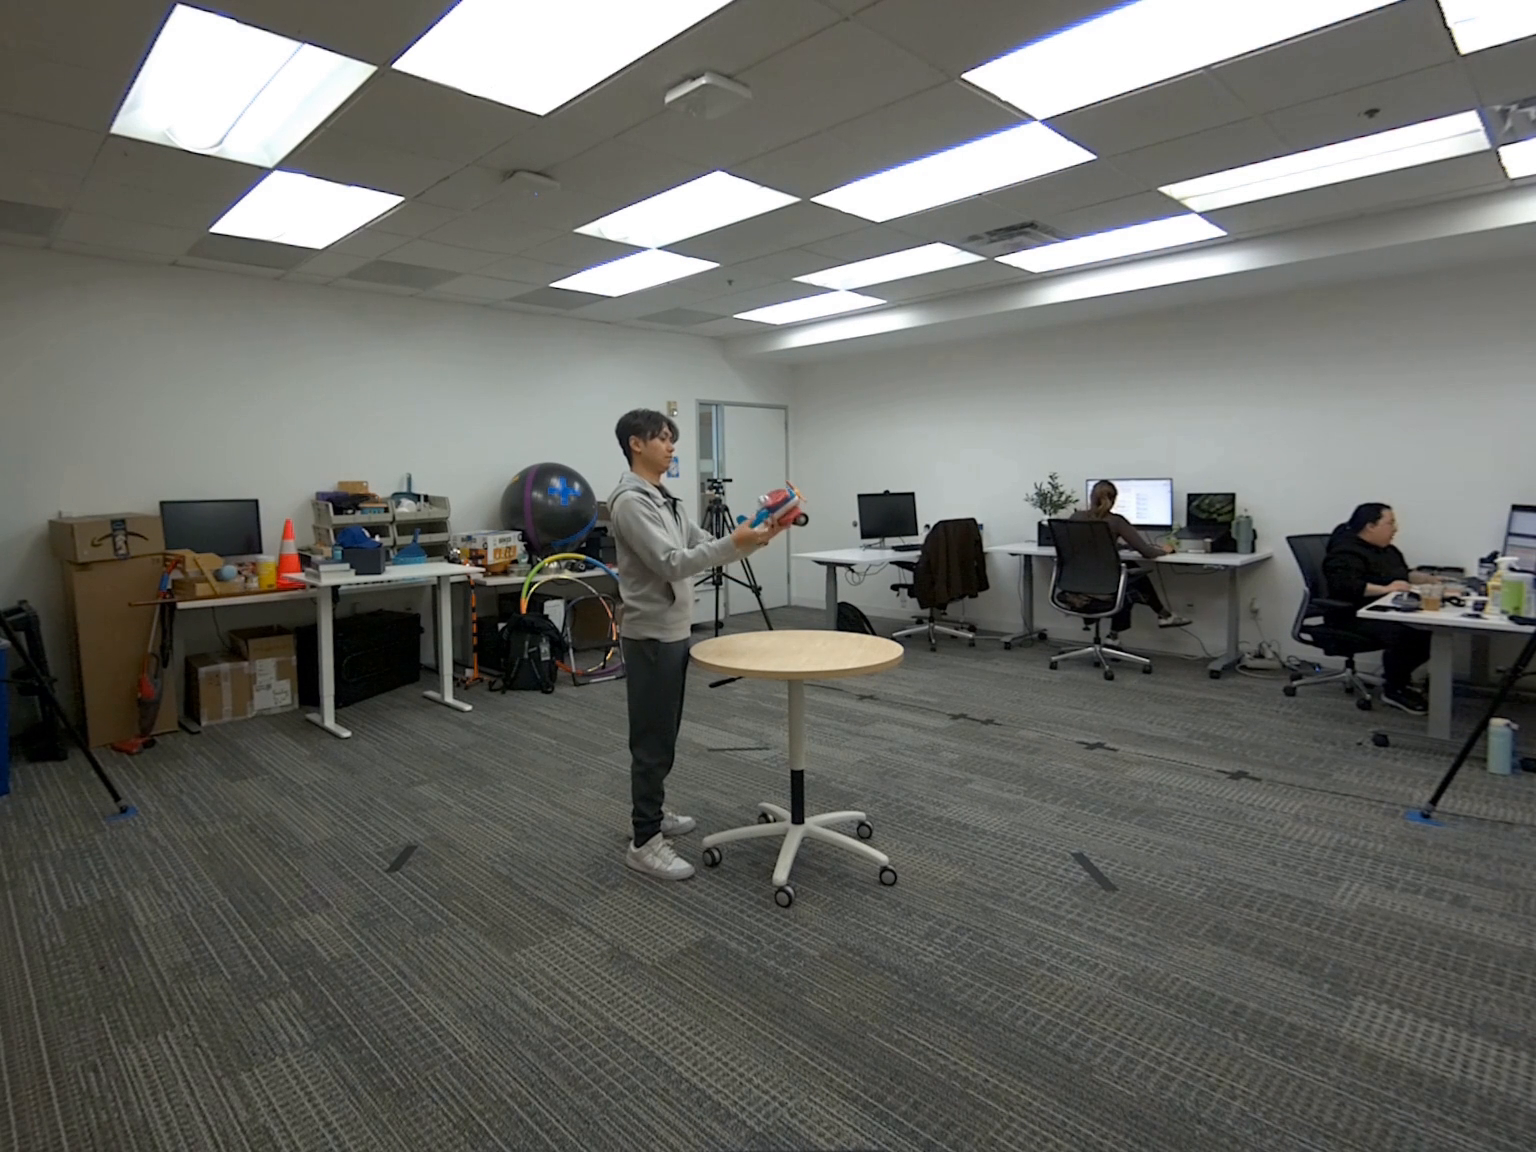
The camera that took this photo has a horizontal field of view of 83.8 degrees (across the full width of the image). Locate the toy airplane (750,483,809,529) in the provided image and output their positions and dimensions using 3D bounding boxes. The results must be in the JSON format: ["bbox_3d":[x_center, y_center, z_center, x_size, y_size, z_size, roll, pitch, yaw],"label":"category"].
[{"bbox_3d":[0.010,-0.210,3.170,0.256,0.155,0.256,-29,11,-32],"label":"toy airplane"}]
